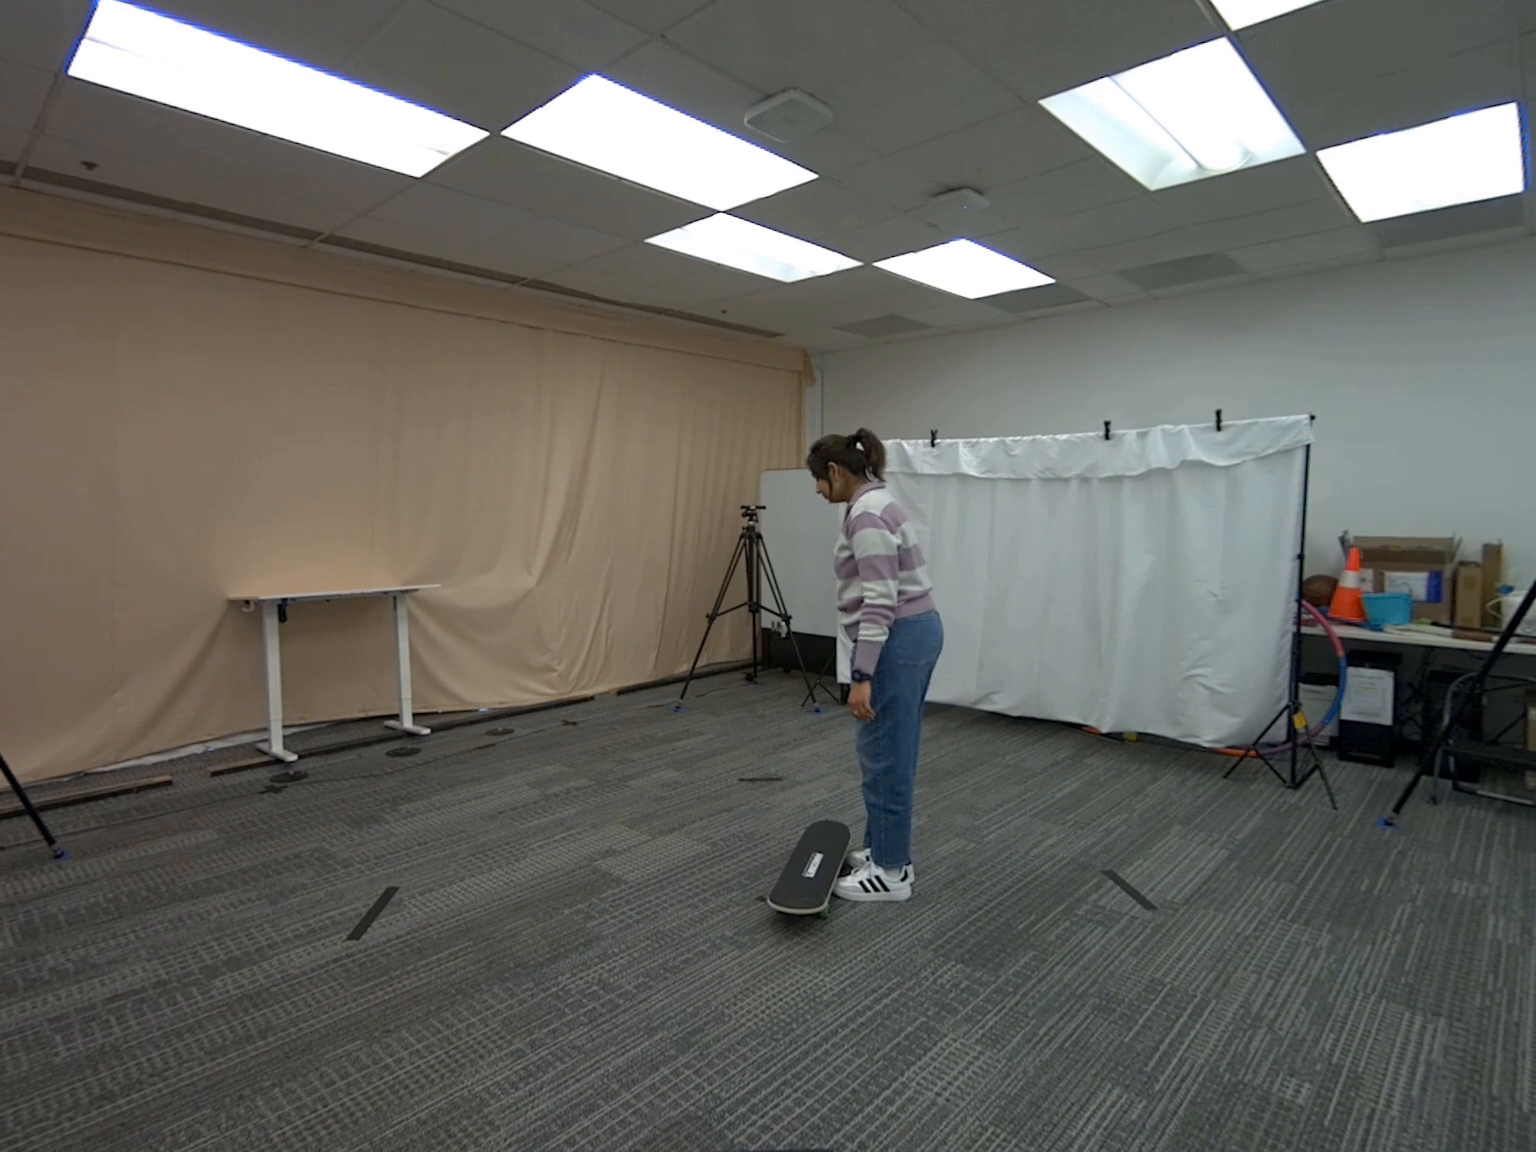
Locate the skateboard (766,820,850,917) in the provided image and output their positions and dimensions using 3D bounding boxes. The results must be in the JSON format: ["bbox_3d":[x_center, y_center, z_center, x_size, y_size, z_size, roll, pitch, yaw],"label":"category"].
[{"bbox_3d":[0.169,1.078,3.054,0.197,0.110,0.774,1,5,14],"label":"skateboard"}]
